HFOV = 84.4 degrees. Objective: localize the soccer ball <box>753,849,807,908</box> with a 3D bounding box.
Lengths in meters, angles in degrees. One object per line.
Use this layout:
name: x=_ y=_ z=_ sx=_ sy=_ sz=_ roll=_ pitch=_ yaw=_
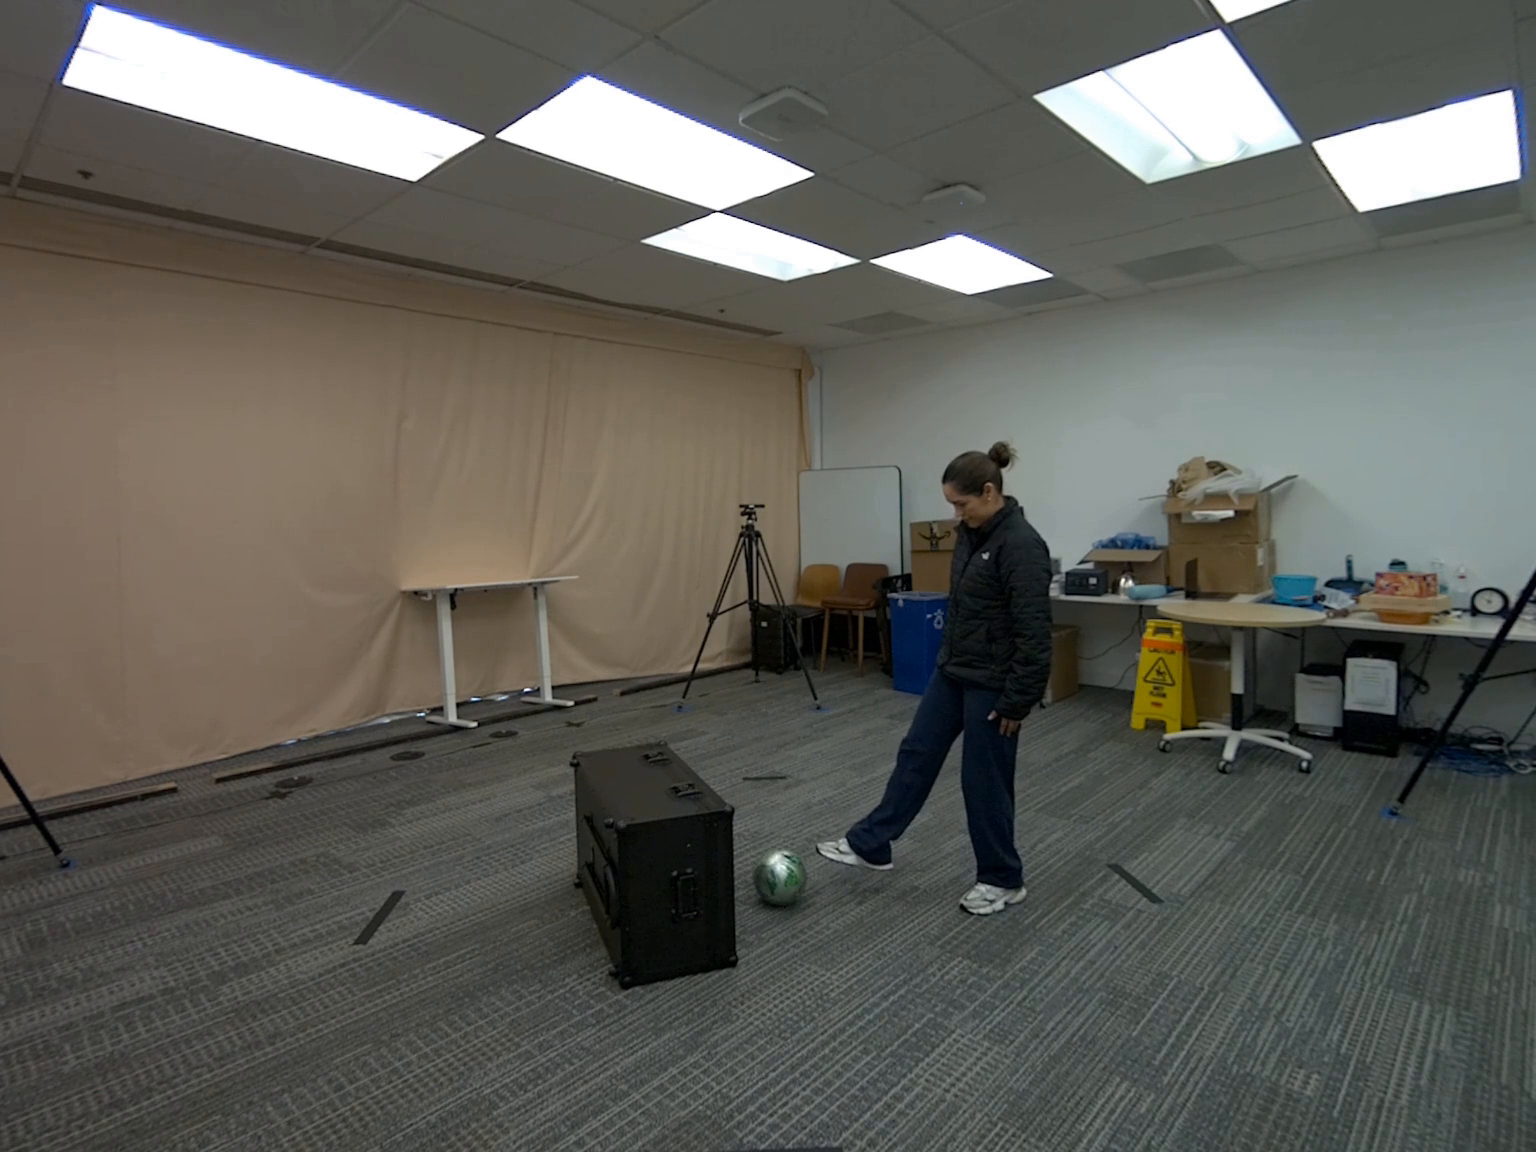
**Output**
soccer ball: x=0.046 y=1.056 z=2.932 sx=0.187 sy=0.187 sz=0.188 roll=-1 pitch=4 yaw=-2
